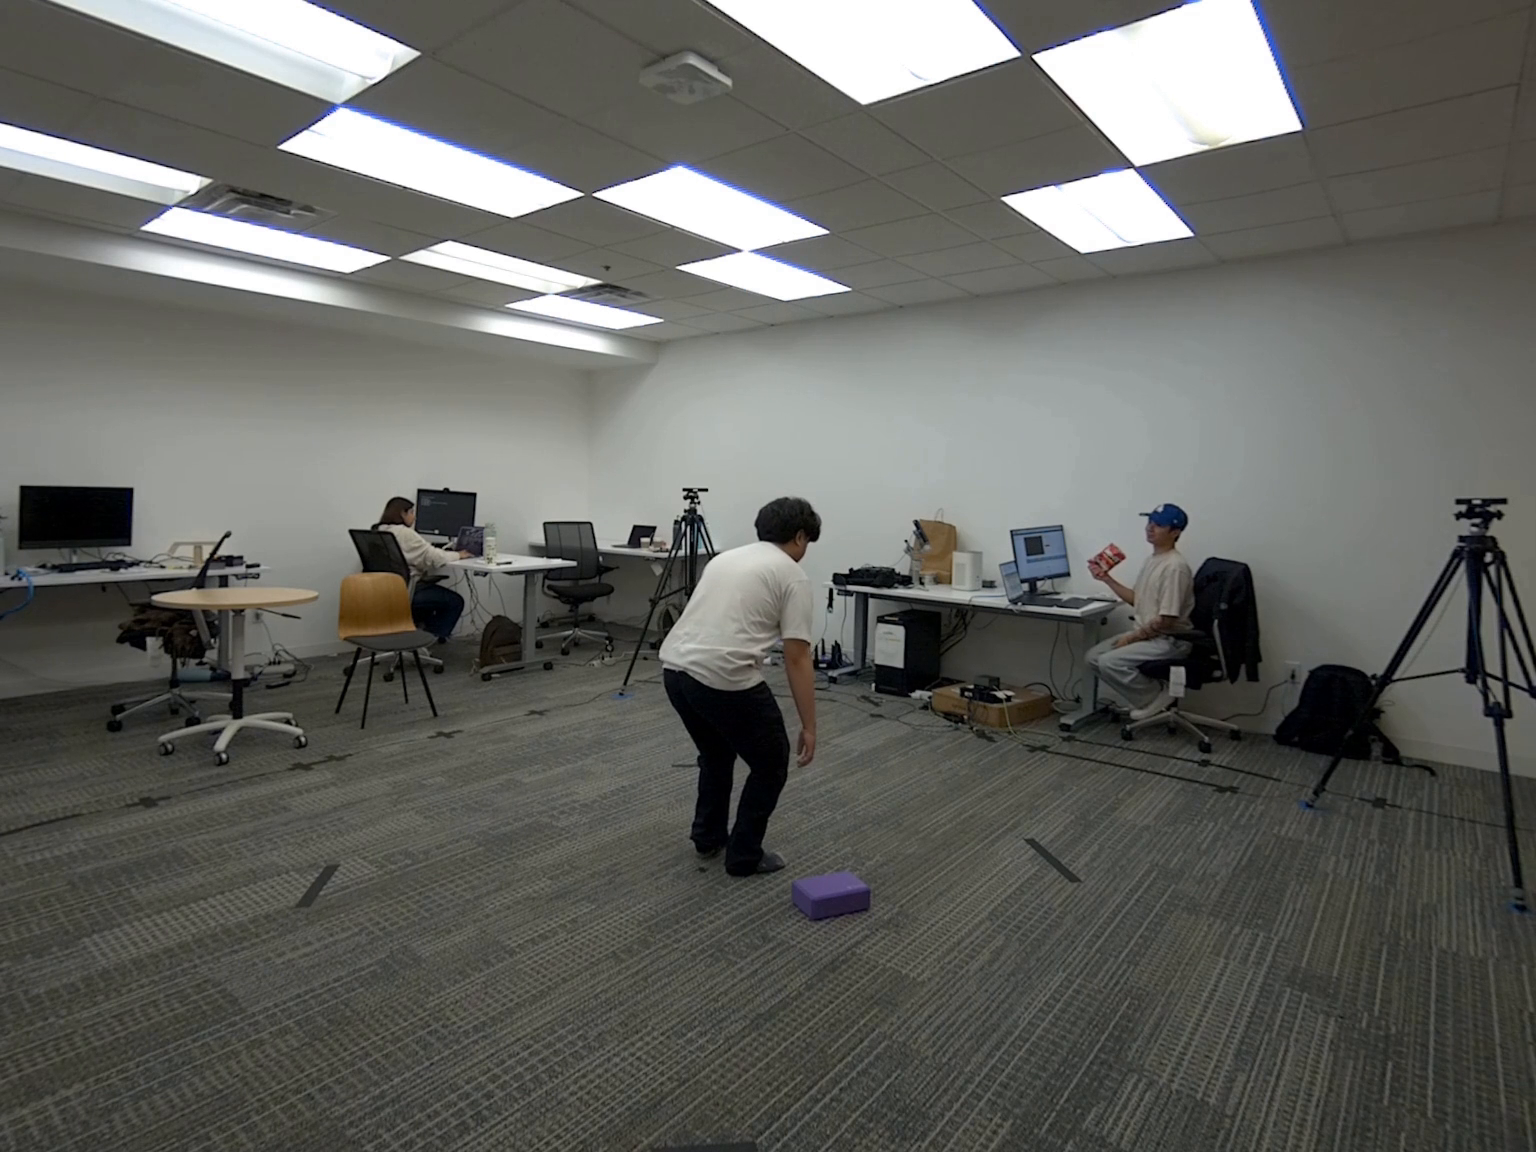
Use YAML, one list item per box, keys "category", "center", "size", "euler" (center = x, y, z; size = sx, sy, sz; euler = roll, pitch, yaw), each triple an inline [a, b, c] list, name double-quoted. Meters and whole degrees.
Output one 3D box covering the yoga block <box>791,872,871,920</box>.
- category: "yoga block"
  center: [0.204, 1.063, 2.854]
  size: [0.224, 0.076, 0.153]
  euler: [0, 5, -24]
